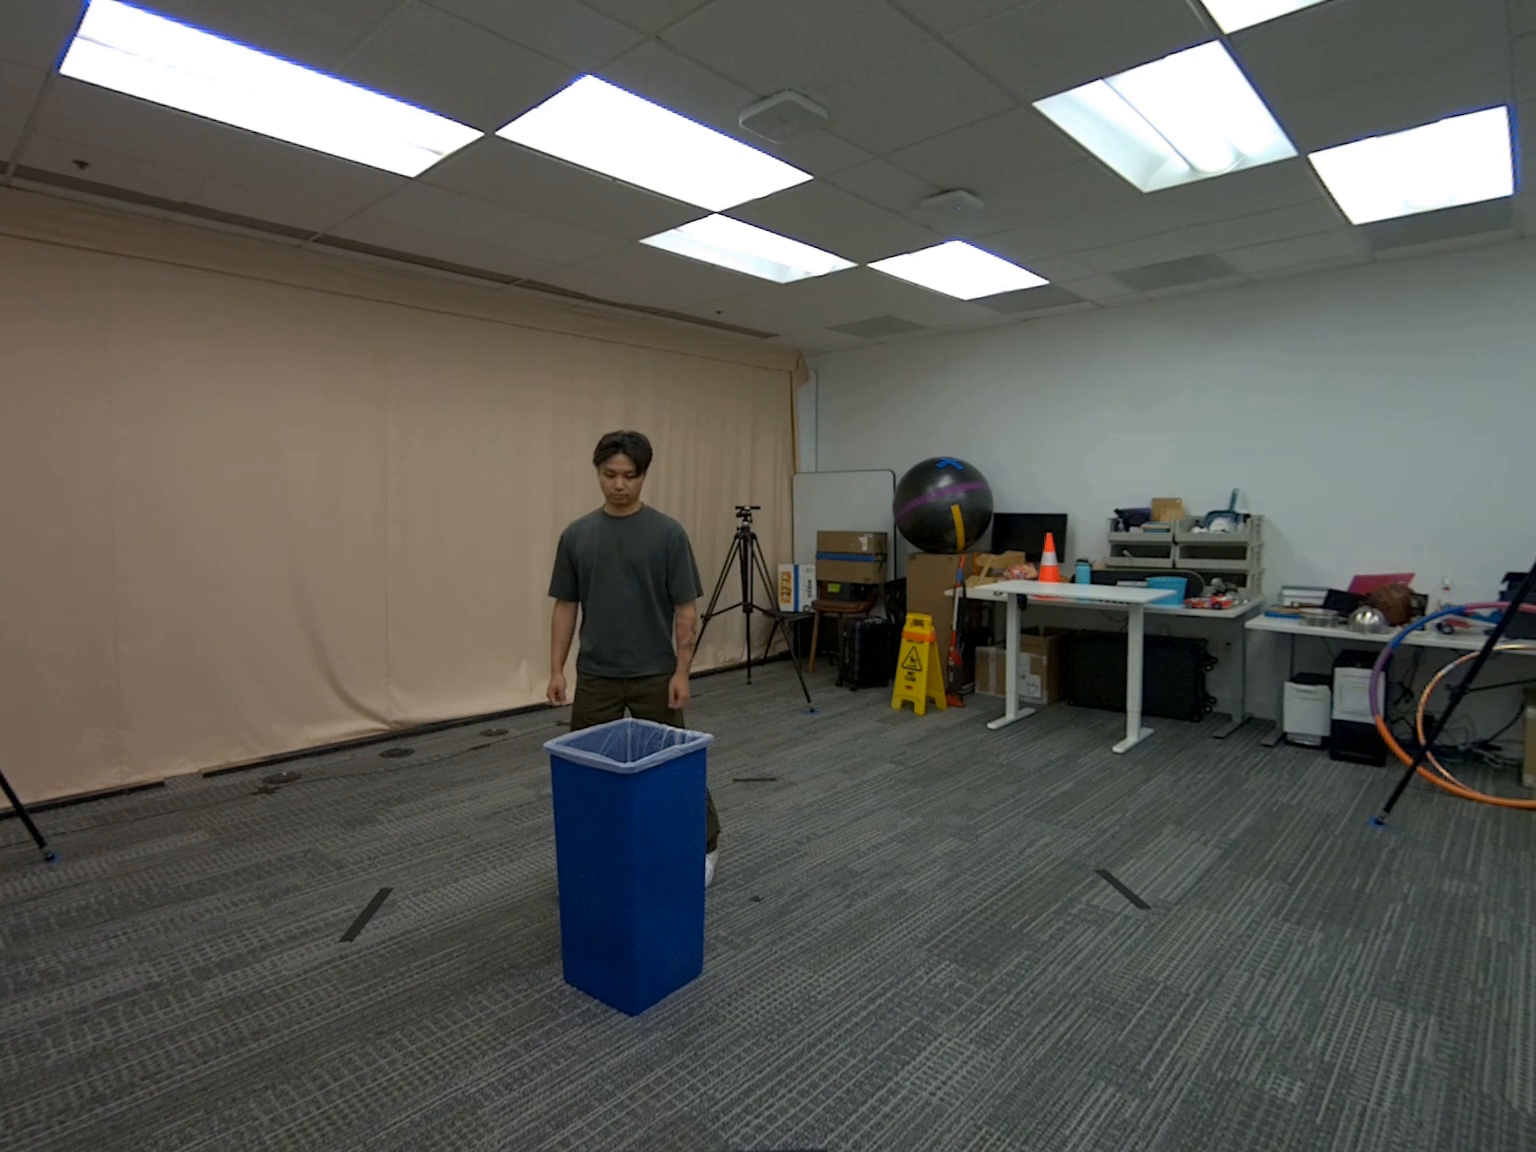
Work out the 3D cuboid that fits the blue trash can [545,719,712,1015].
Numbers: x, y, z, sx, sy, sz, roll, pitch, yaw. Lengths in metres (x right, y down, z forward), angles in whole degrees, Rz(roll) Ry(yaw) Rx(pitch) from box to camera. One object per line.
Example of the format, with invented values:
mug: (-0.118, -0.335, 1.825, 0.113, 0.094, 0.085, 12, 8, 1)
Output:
blue trash can: (-0.392, 0.832, 2.475, 0.386, 0.712, 0.367, 2, 5, 36)
